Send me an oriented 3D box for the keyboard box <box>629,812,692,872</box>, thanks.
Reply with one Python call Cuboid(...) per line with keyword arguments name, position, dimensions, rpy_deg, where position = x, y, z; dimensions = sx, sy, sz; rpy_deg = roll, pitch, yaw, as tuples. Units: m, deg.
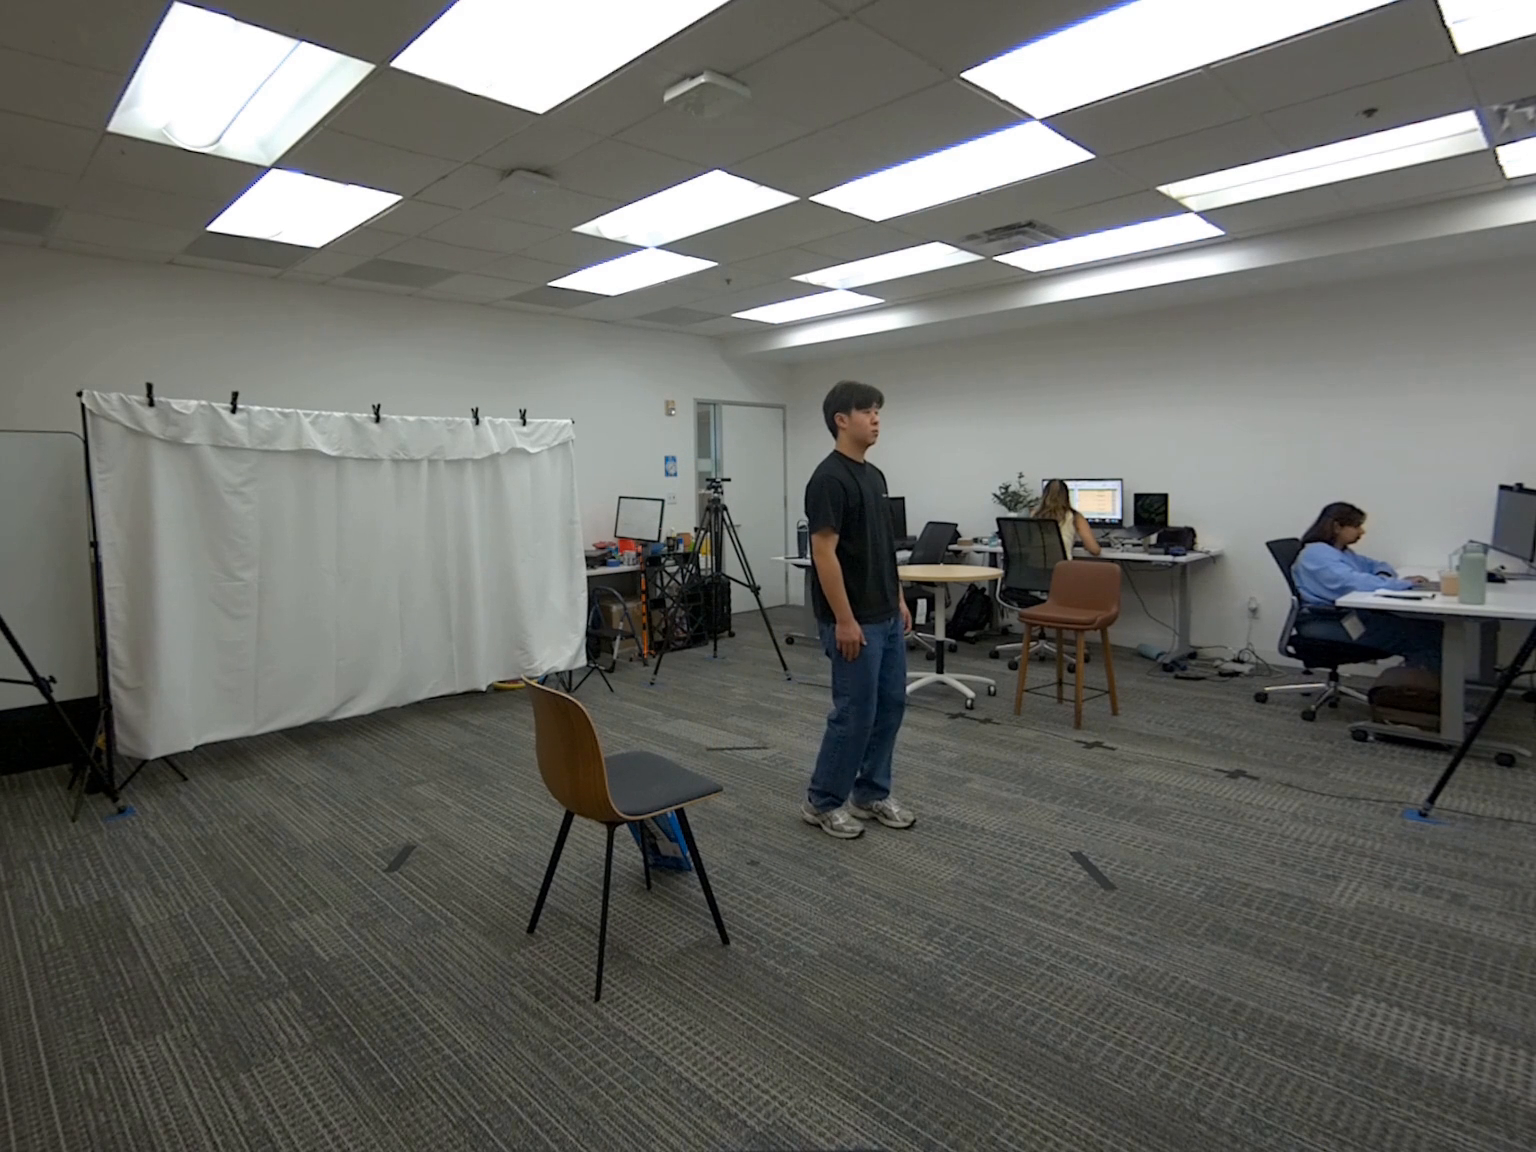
Cuboid(name="keyboard box", position=(-0.385, 0.888, 2.958), dimensions=(0.179, 0.422, 0.060), rpy_deg=(1, 43, 16))
